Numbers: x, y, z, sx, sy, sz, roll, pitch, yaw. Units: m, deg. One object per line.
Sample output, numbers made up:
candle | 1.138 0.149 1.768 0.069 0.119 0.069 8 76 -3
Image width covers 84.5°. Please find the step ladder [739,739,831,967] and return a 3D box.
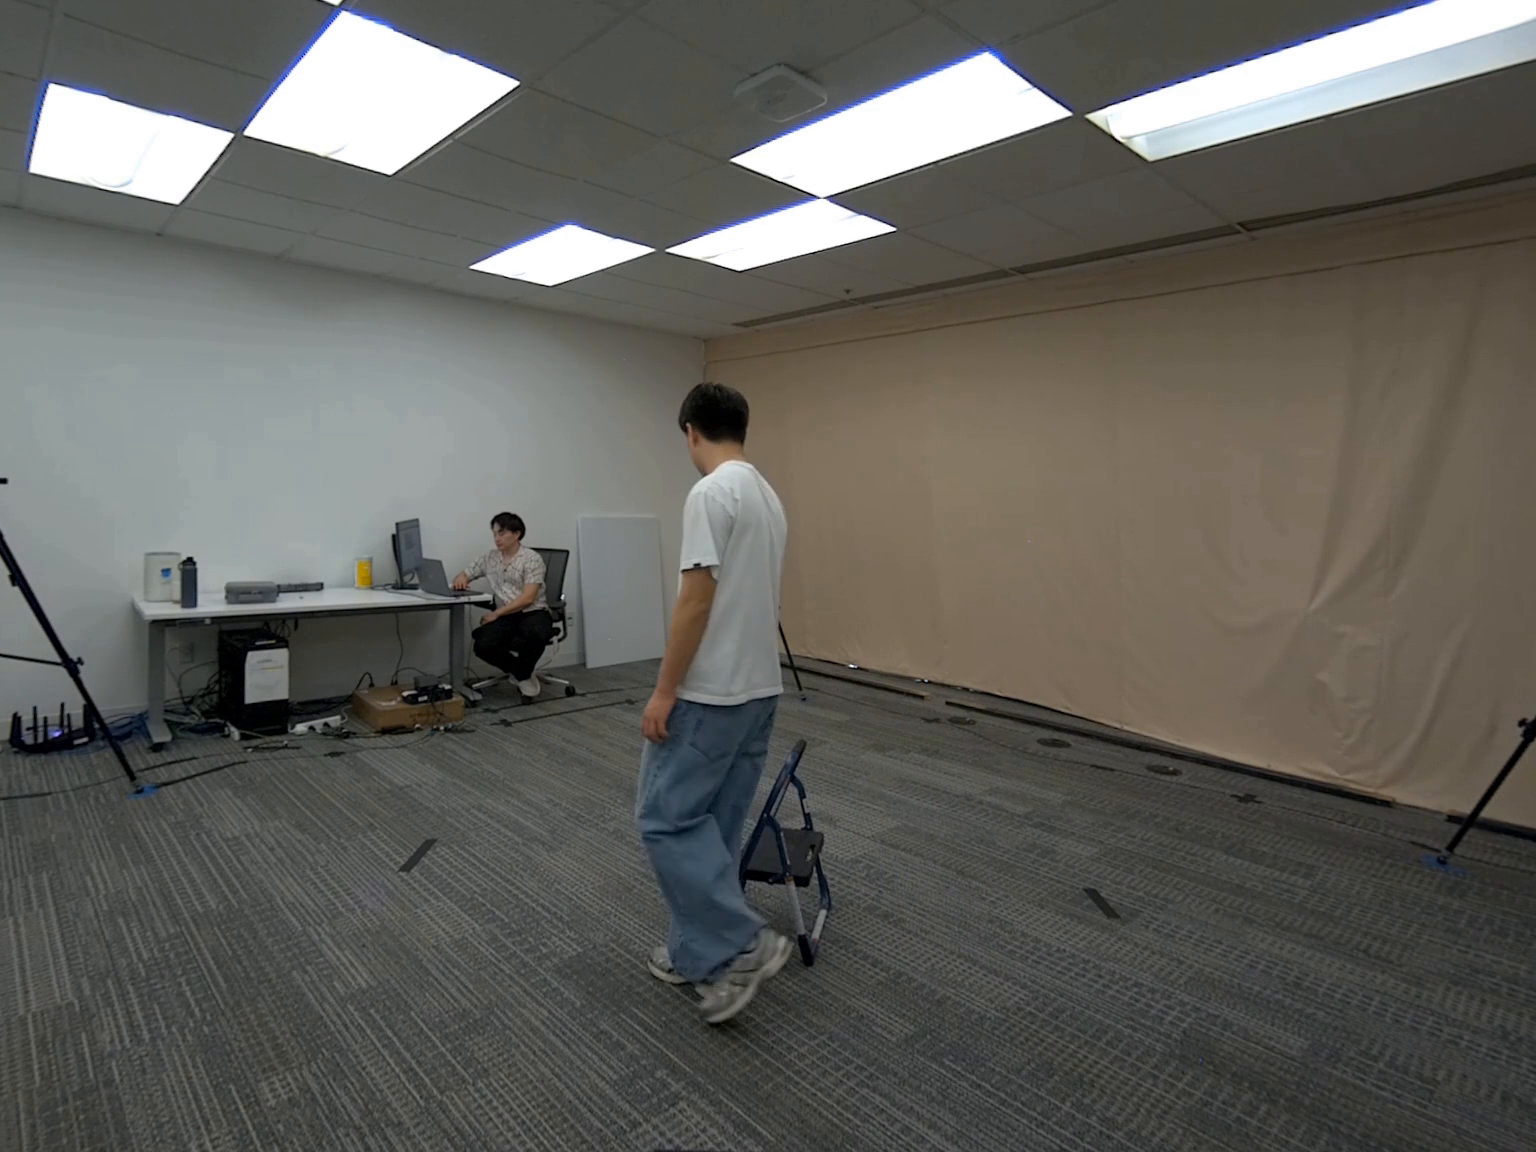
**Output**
step ladder | 0.015 0.843 2.726 0.353 0.604 0.427 2 4 12
